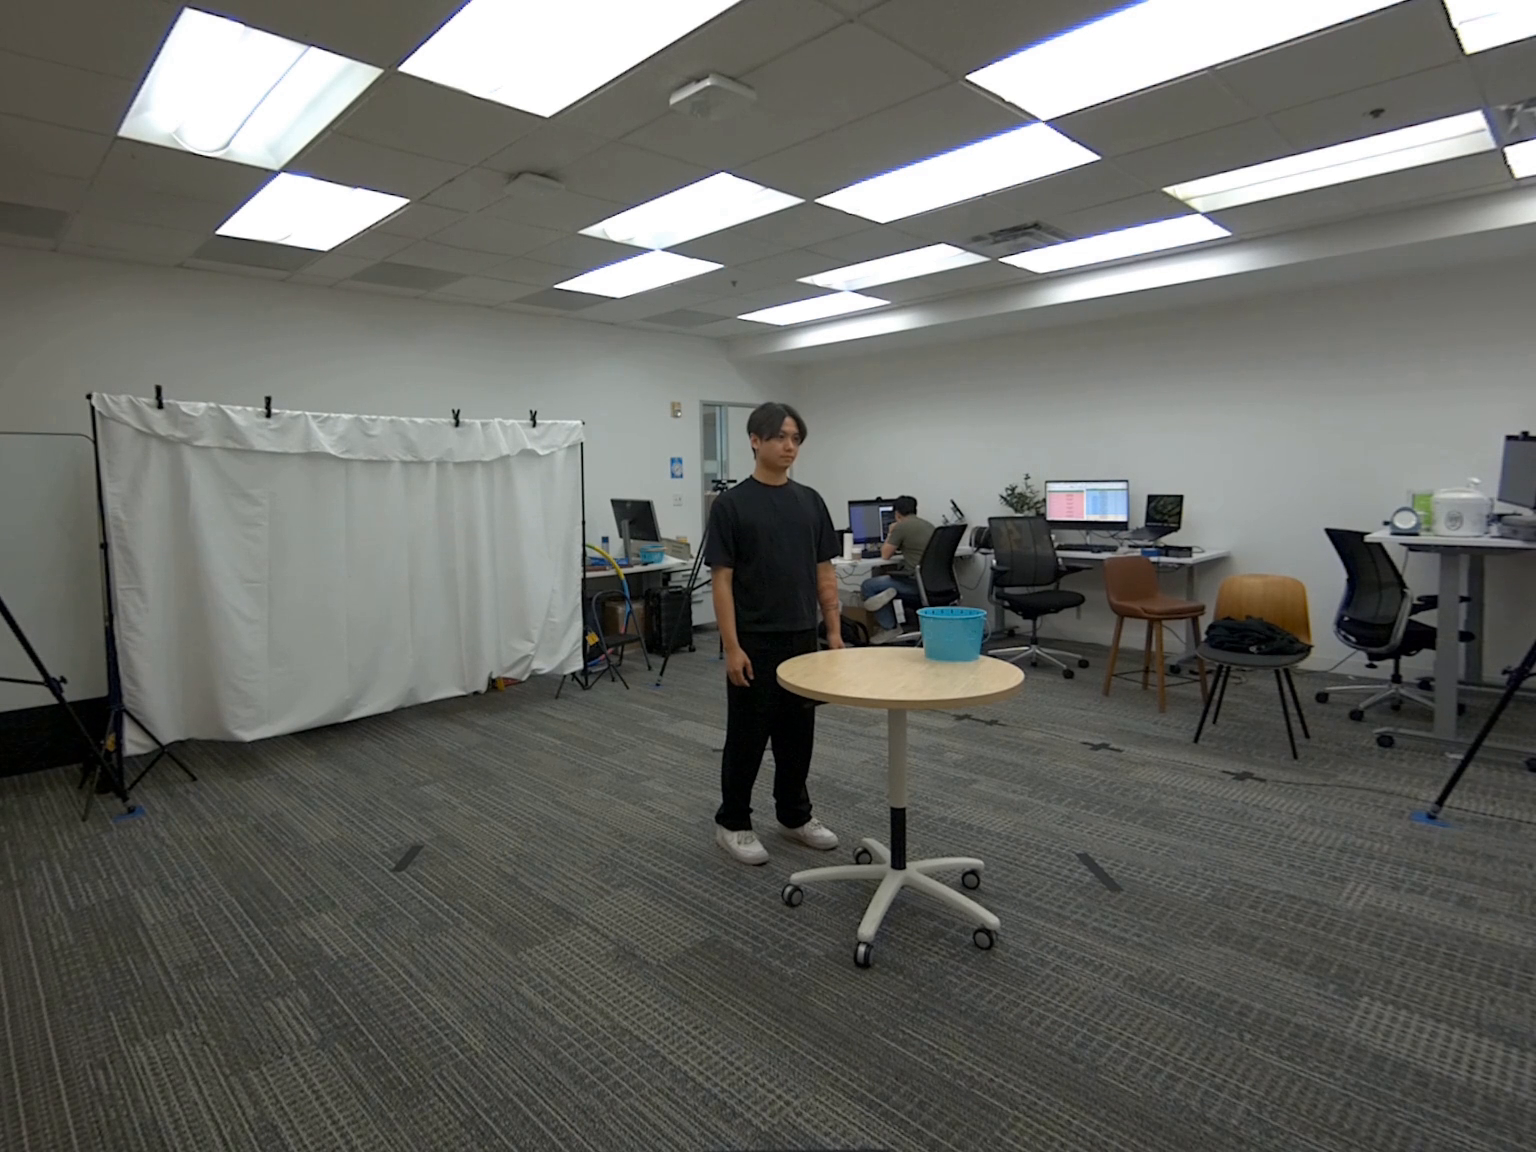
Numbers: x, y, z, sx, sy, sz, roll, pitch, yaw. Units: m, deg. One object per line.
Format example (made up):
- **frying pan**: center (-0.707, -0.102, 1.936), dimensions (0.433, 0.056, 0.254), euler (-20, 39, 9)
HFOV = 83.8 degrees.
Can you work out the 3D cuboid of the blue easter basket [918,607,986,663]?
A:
- **blue easter basket**: center (0.653, 0.203, 2.899), dimensions (0.243, 0.155, 0.245), euler (-2, 6, -1)
